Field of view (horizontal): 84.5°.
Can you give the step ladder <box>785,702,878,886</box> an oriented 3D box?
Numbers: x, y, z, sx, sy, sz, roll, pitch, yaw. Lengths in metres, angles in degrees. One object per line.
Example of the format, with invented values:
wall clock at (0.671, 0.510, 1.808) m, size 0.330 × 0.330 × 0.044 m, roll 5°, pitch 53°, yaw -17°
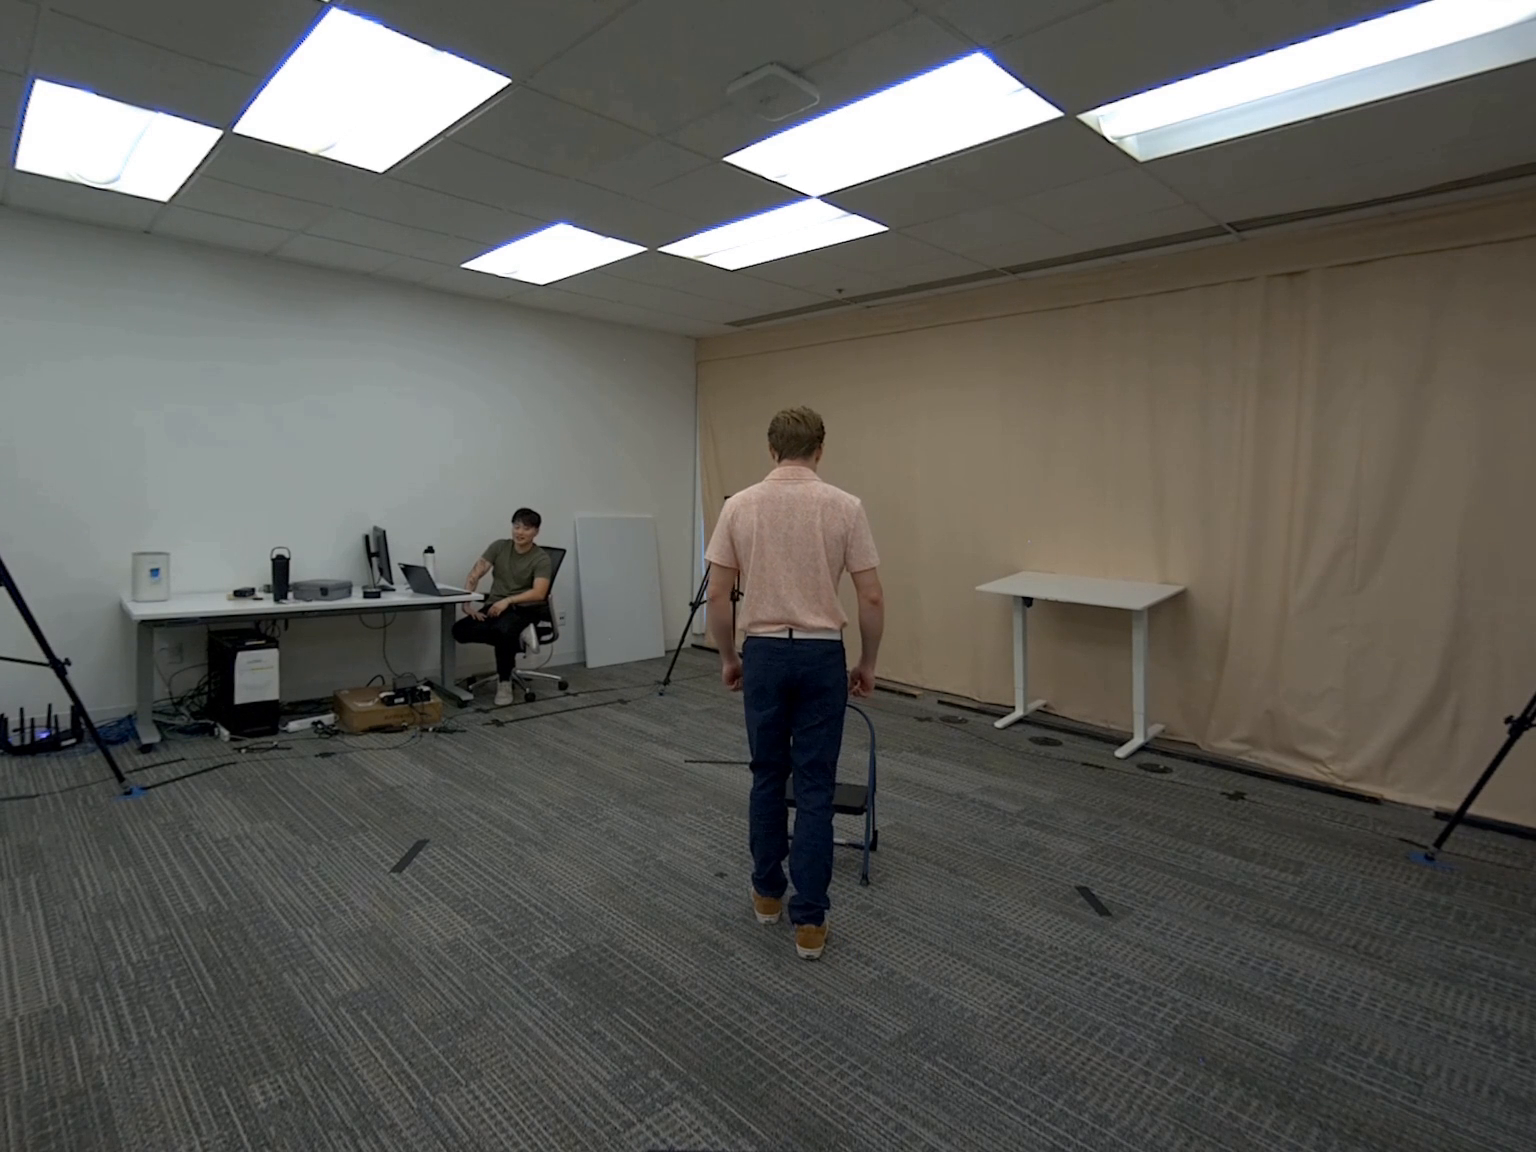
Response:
step ladder at (0.205, 0.797, 3.254) m, size 0.436 × 0.605 × 0.345 m, roll 3°, pitch 3°, yaw 15°
